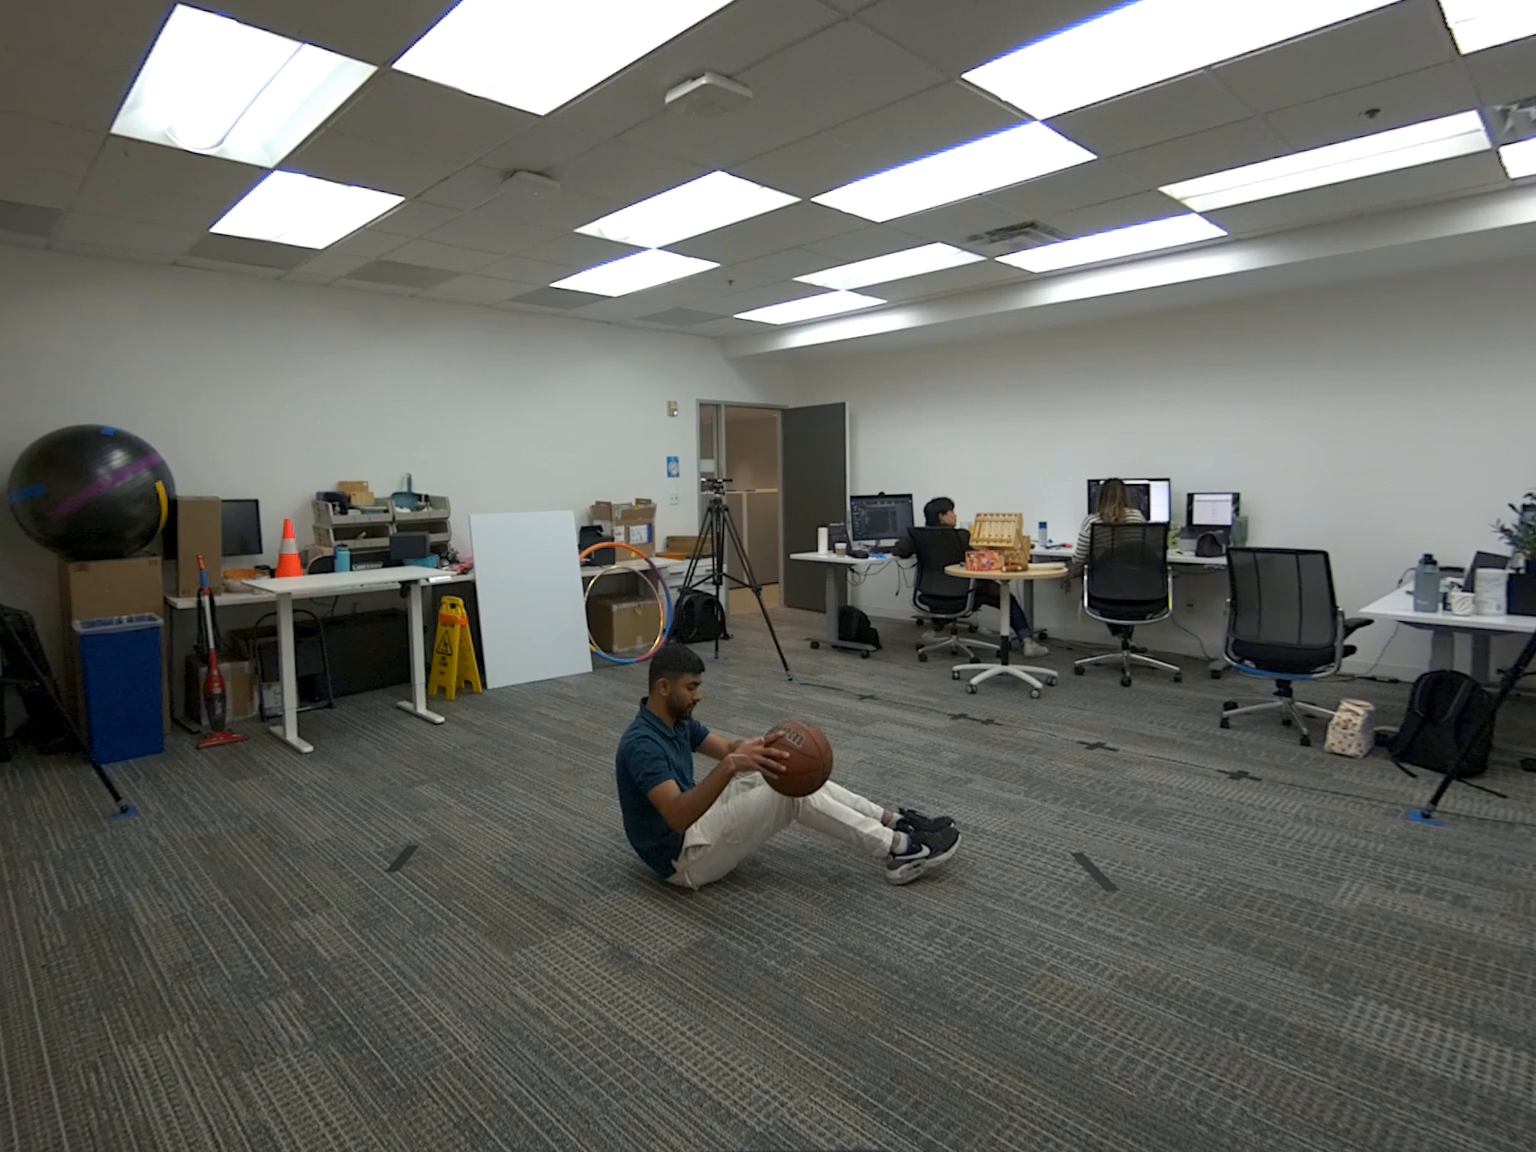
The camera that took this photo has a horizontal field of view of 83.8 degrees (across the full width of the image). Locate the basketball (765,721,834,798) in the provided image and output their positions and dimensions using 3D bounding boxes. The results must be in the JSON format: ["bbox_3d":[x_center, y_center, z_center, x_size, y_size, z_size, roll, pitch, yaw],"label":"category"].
[{"bbox_3d":[0.089,0.592,2.720,0.236,0.235,0.237,-1,5,-2],"label":"basketball"}]
